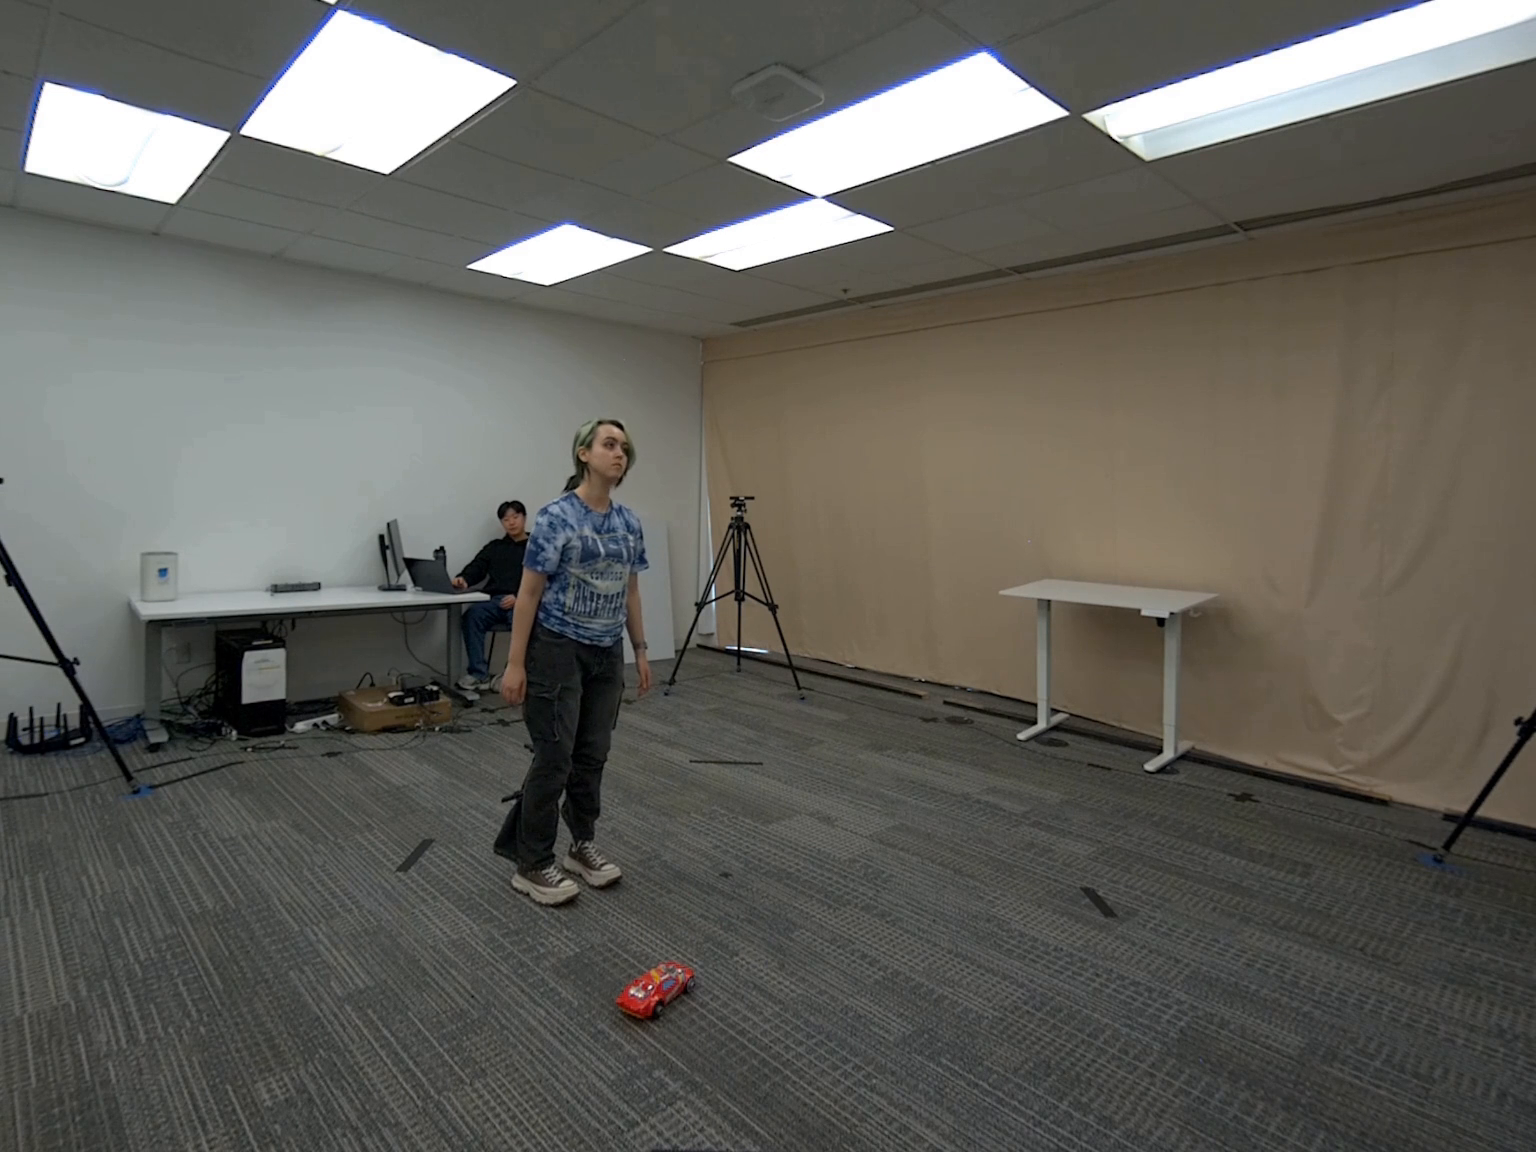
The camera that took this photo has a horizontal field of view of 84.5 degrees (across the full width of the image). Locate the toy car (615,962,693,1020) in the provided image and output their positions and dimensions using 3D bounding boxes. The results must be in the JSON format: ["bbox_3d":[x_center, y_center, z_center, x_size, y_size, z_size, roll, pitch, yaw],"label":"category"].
[{"bbox_3d":[-0.316,1.145,2.299,0.133,0.083,0.248,4,-4,32],"label":"toy car"}]
